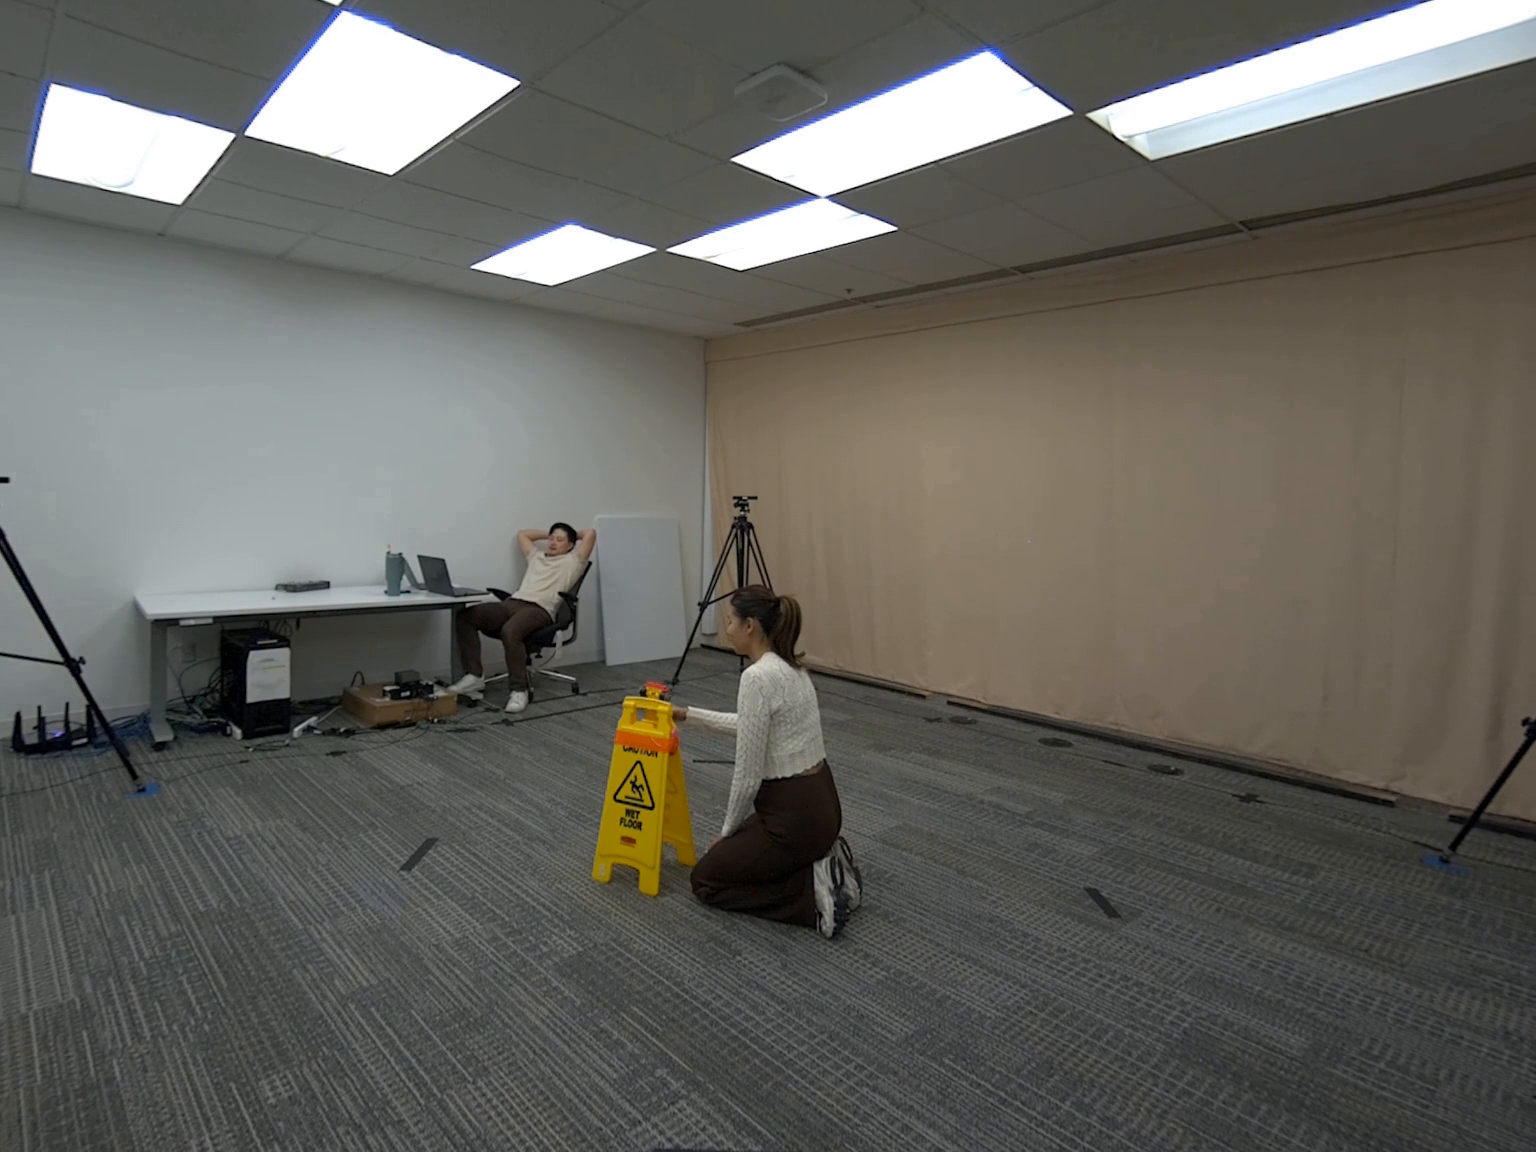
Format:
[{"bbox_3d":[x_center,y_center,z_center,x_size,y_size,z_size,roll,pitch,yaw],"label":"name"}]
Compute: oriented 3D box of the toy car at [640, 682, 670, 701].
[{"bbox_3d":[-0.410,0.523,3.133,0.132,0.250,0.083,5,28,21],"label":"toy car"}]
